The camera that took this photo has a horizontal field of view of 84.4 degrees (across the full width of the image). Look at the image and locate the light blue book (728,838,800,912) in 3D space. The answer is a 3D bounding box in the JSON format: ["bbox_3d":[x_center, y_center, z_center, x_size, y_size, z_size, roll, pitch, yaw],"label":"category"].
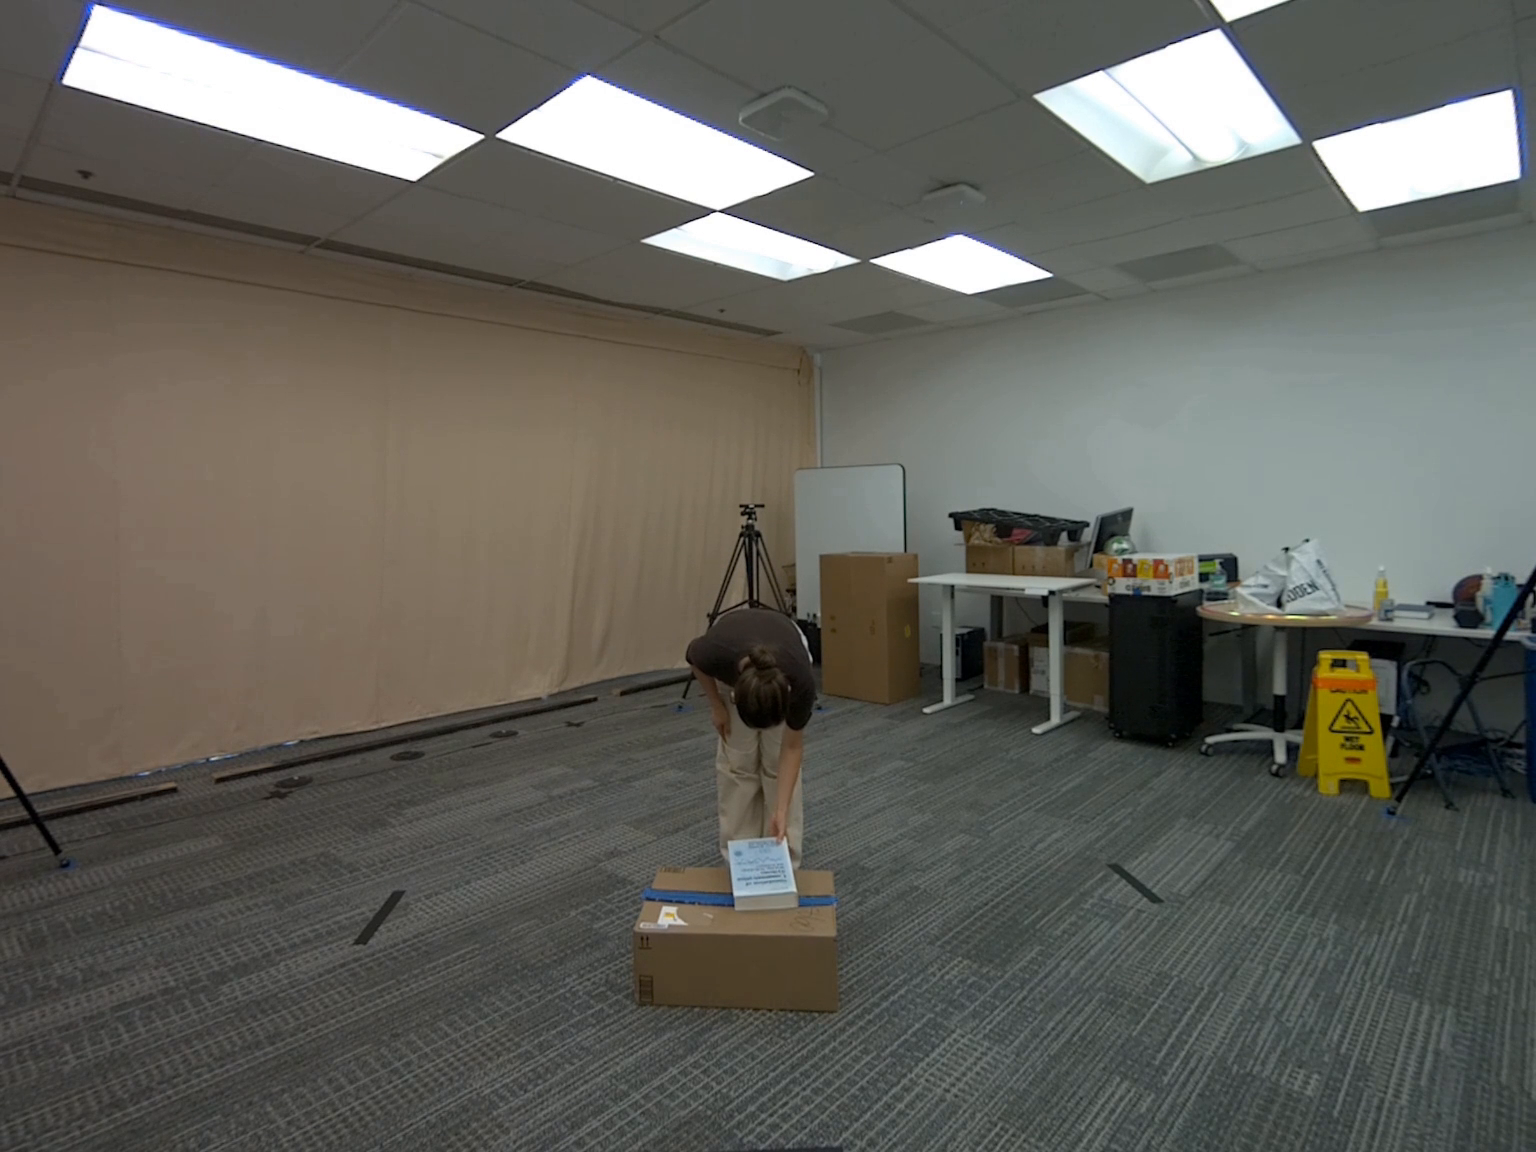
[{"bbox_3d":[-0.017,0.903,2.581,0.191,0.058,0.265,-4,18,-4],"label":"light blue book"}]
